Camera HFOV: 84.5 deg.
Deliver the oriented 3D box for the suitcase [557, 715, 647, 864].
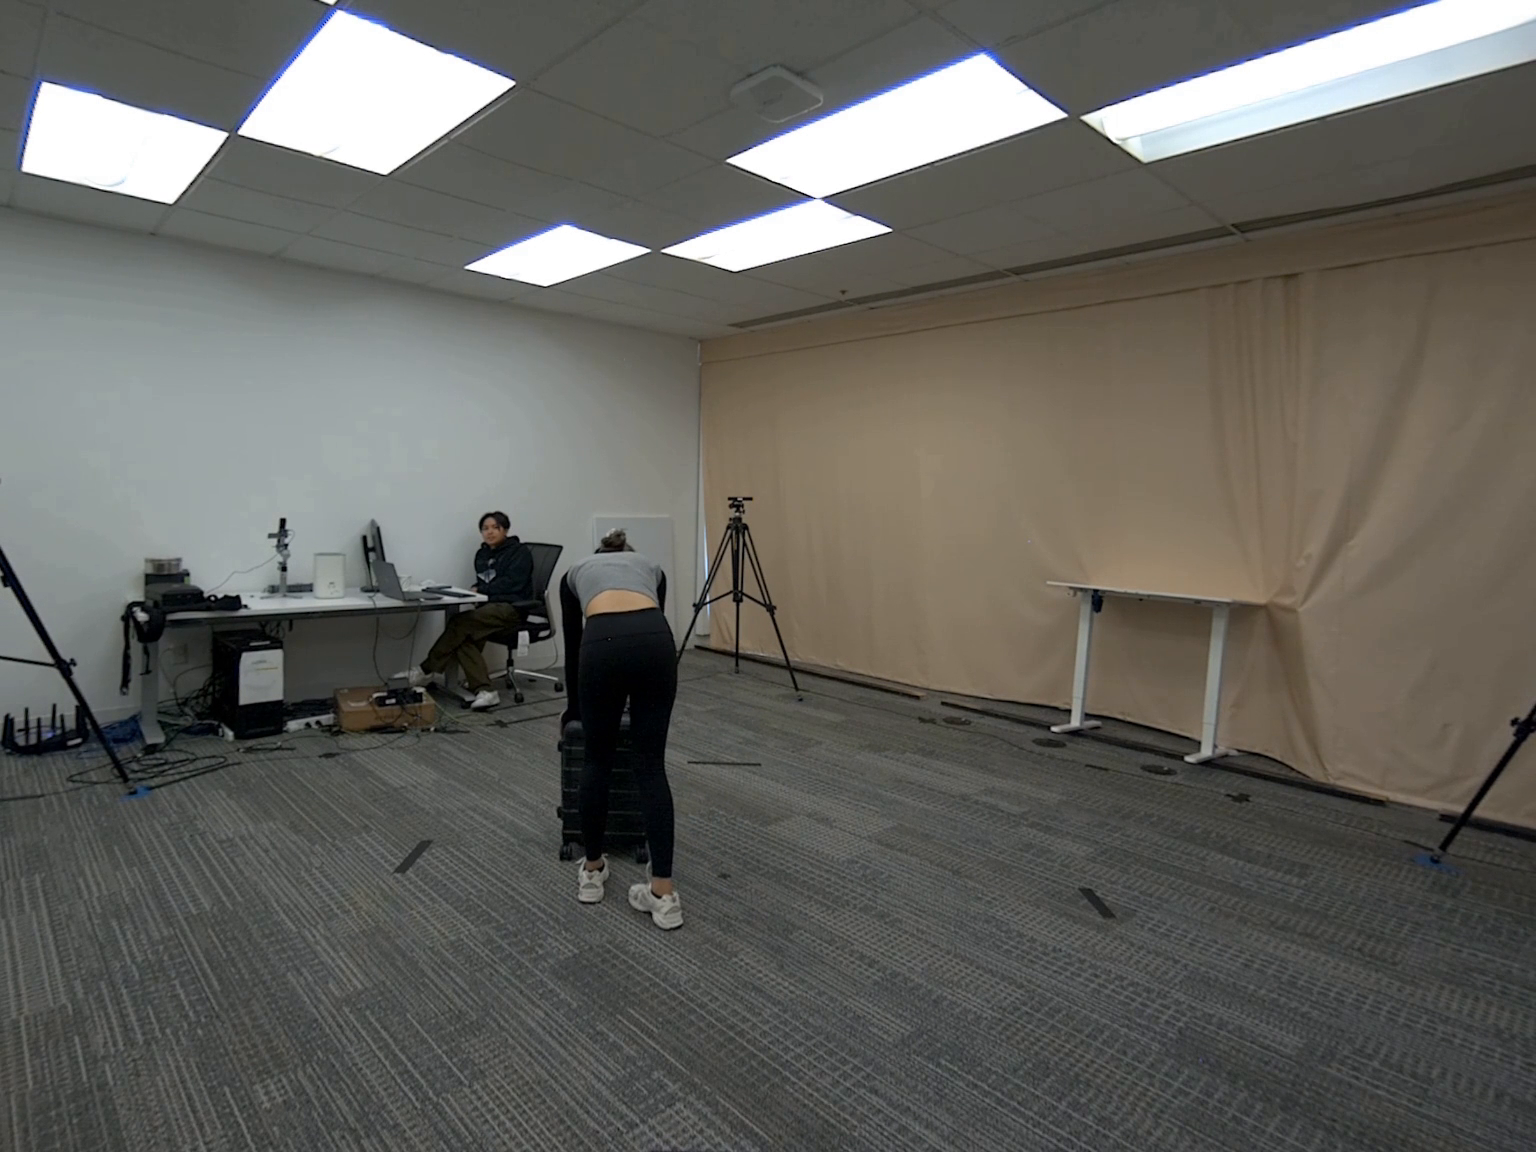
[{"bbox_3d":[-0.639,0.805,3.336,0.375,0.549,0.249,2,1,-3],"label":"suitcase"}]
